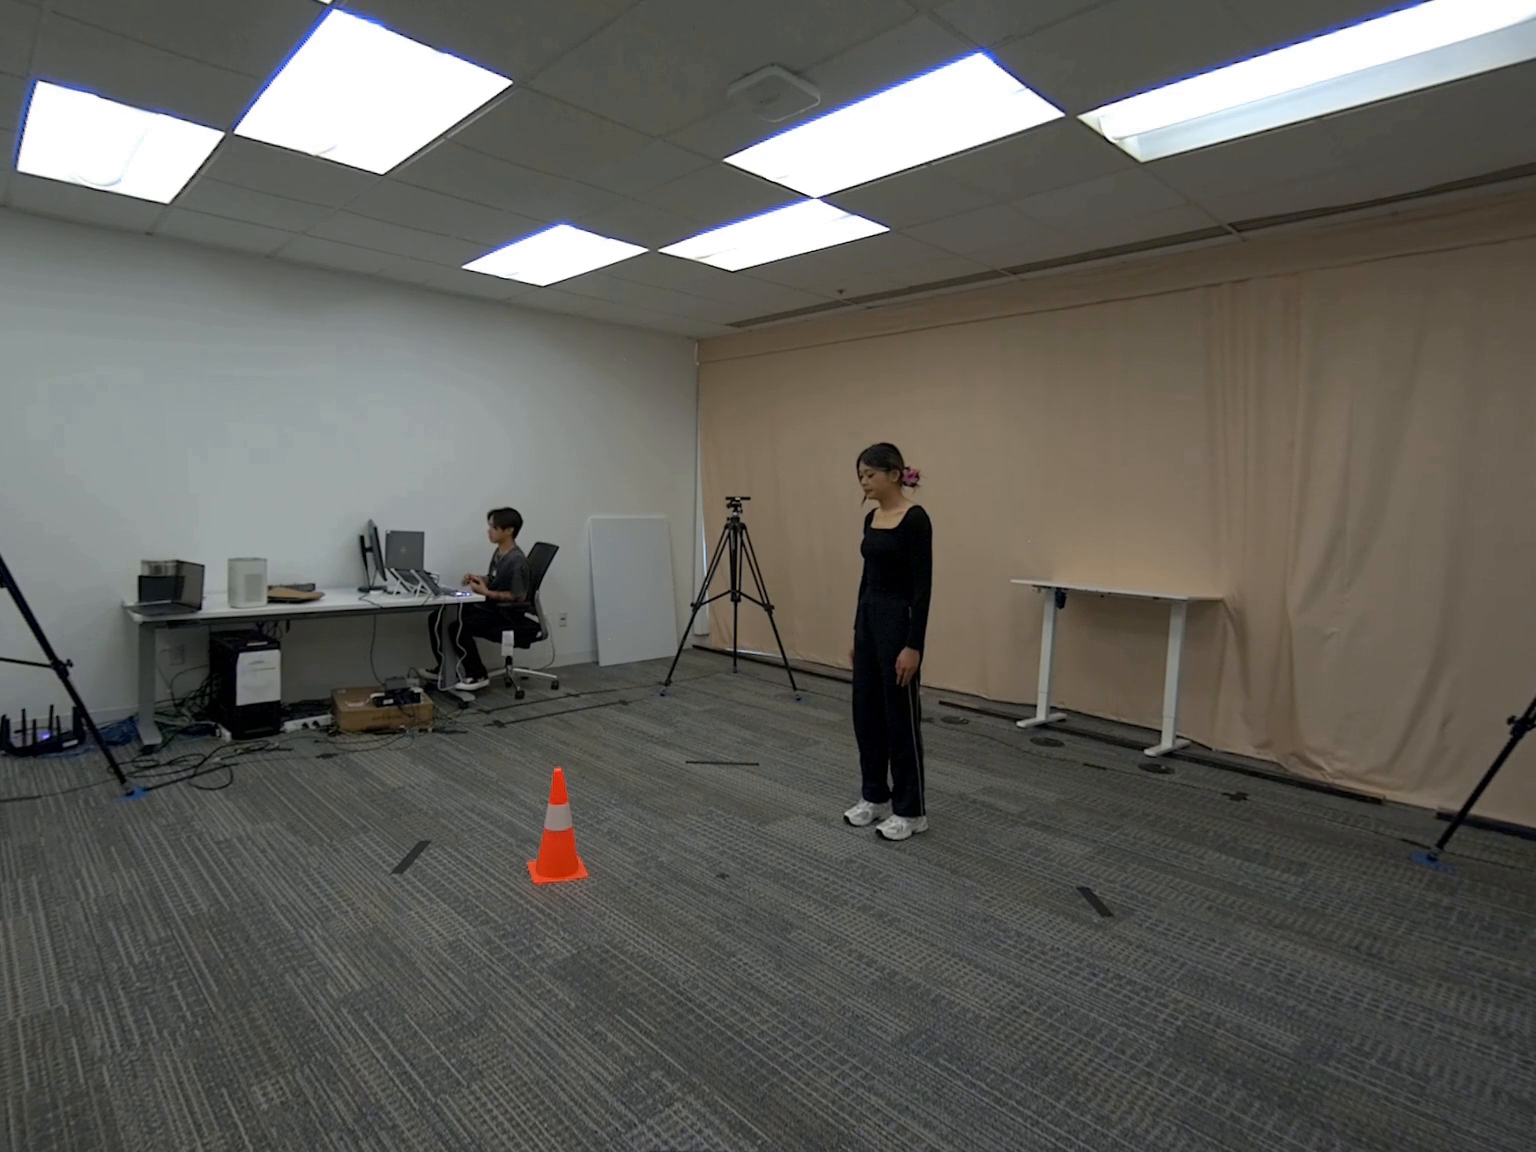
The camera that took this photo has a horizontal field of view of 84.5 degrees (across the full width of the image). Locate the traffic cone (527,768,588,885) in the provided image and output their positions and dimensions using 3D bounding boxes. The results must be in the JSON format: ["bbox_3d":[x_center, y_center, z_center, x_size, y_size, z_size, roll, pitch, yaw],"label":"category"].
[{"bbox_3d":[-0.792,0.908,3.114,0.202,0.382,0.207,-1,4,-21],"label":"traffic cone"}]
